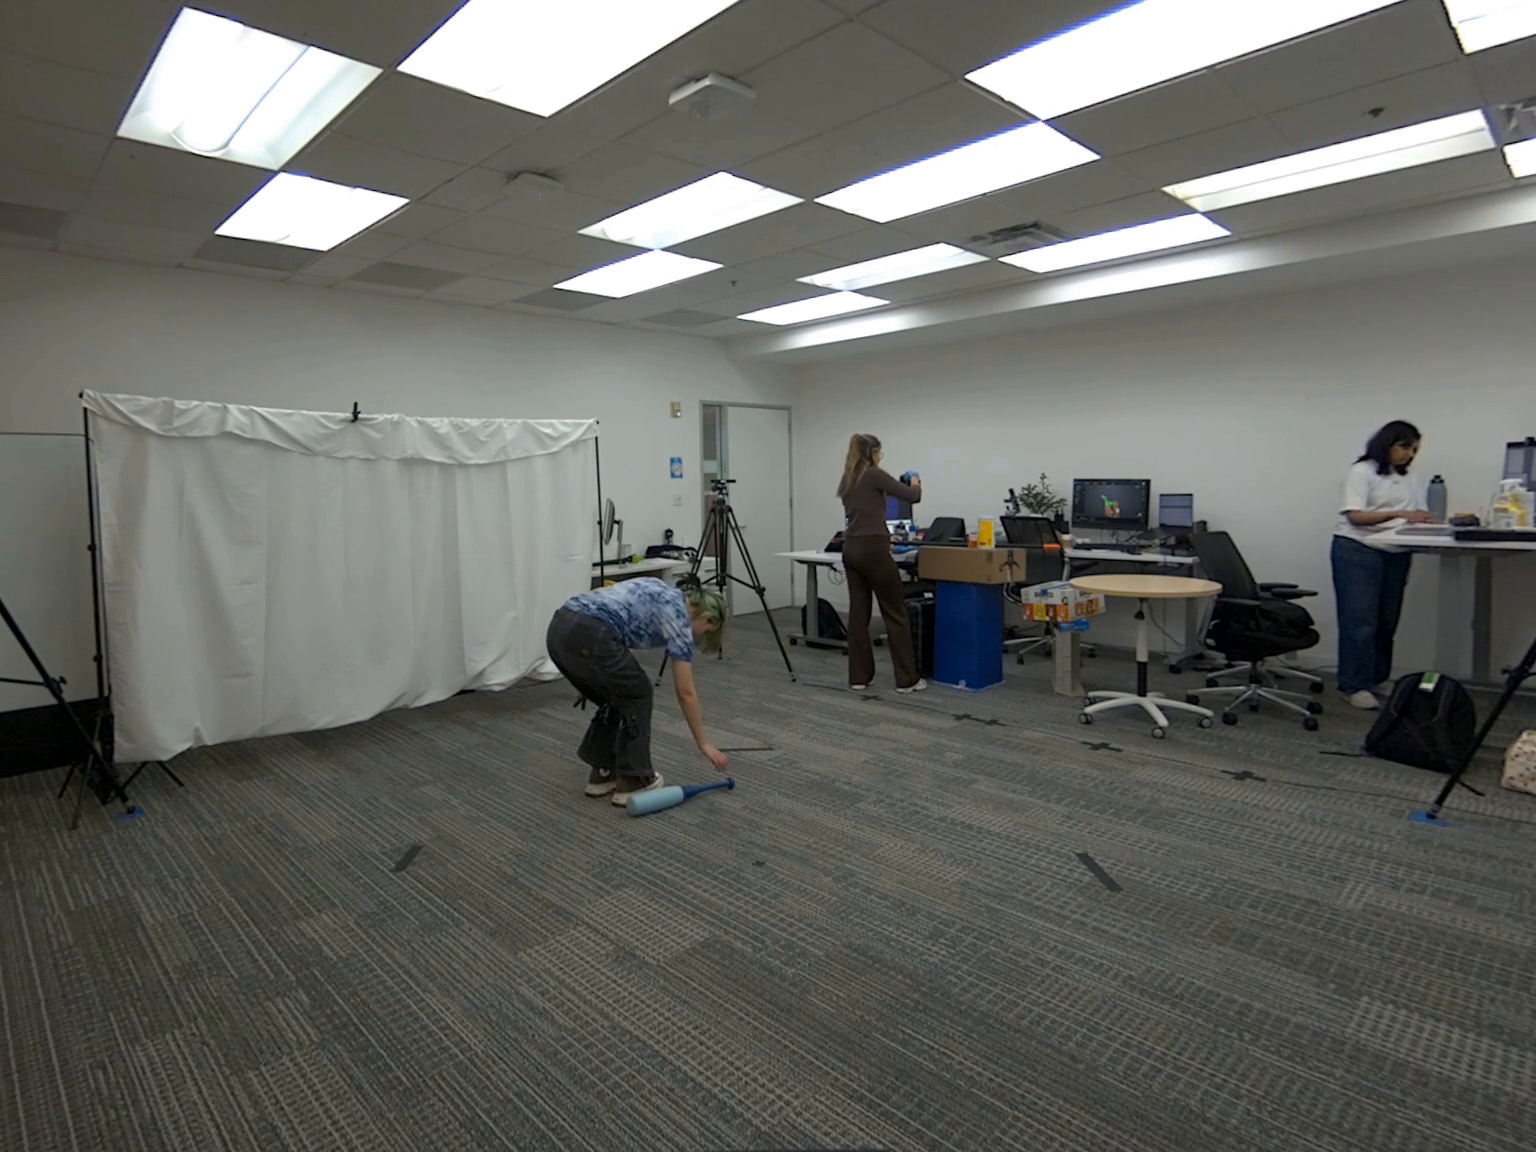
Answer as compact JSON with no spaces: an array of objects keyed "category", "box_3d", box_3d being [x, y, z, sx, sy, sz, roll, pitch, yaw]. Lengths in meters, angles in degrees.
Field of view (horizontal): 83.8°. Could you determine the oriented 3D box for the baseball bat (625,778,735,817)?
[{"category":"baseball bat","box_3d":[-0.373,0.947,3.725,0.528,0.089,0.092,-3,5,-39]}]
